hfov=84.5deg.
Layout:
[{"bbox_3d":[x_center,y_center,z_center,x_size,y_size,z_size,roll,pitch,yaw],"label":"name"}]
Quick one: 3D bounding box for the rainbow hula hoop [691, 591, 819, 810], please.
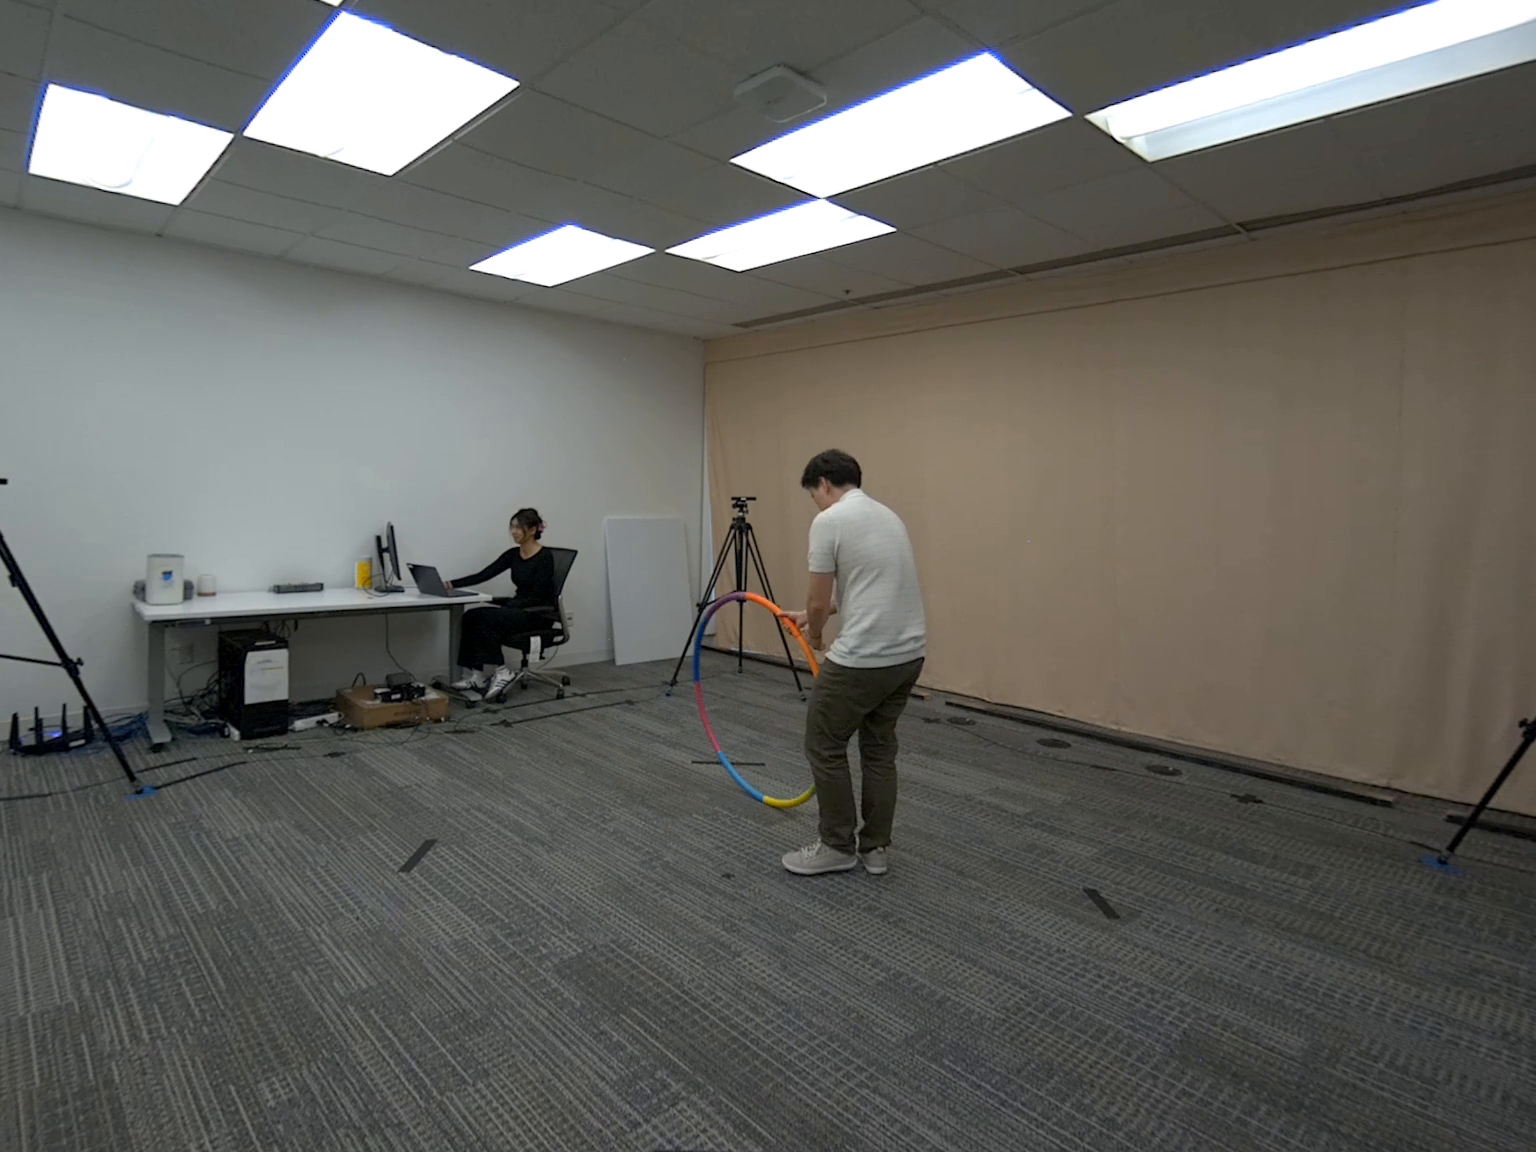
[{"bbox_3d":[-0.054,0.567,3.810,0.035,0.972,1.003,-11,11,-37],"label":"rainbow hula hoop"}]
